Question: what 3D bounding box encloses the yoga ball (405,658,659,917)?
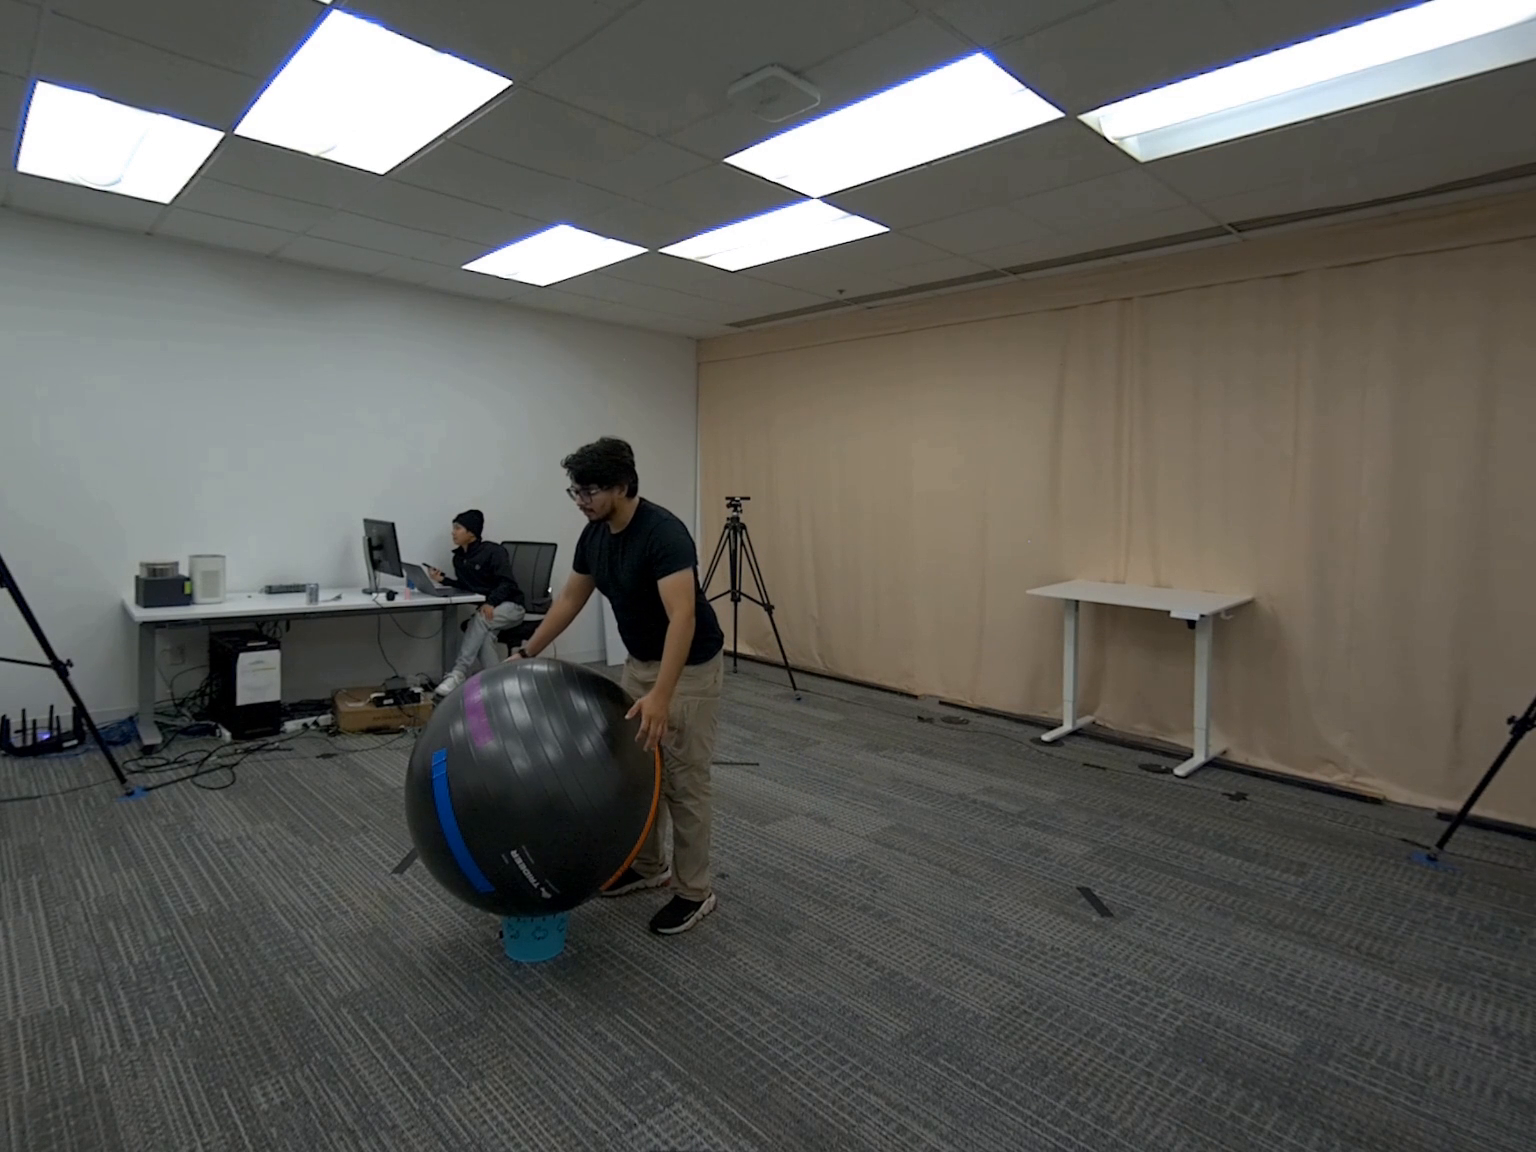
[{"bbox_3d":[-0.715,0.638,2.565,0.757,0.756,0.761,1,4,-1],"label":"yoga ball"}]
